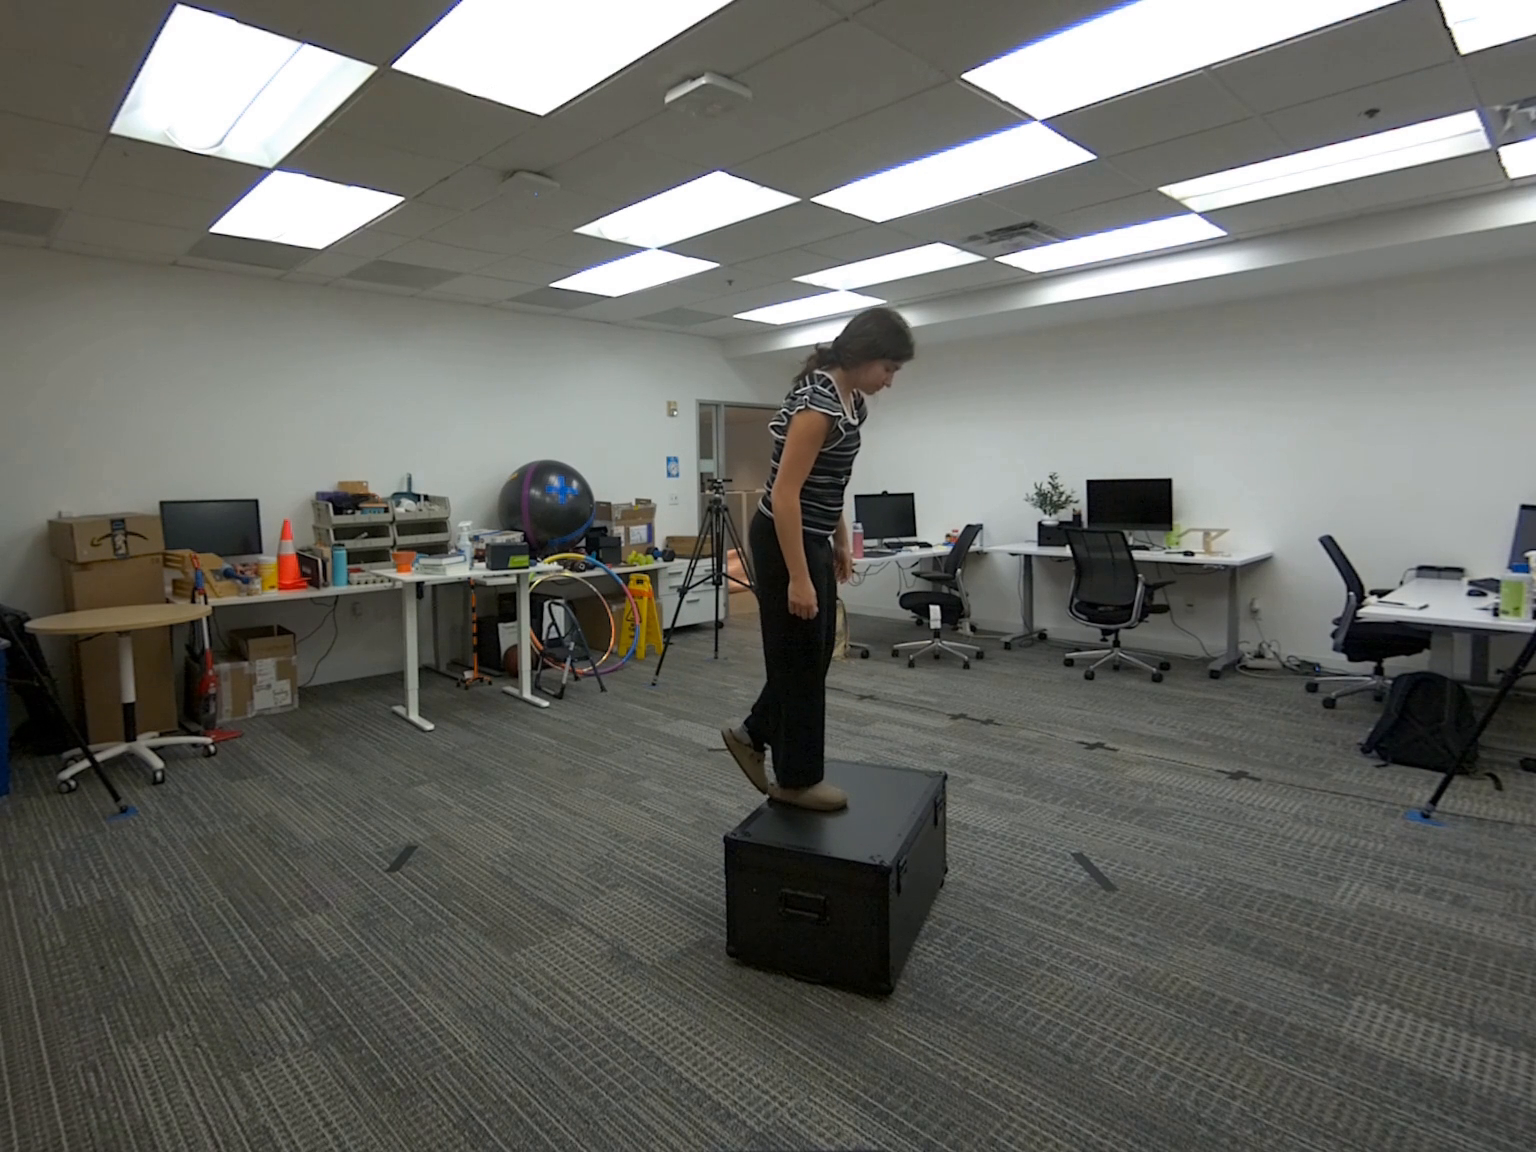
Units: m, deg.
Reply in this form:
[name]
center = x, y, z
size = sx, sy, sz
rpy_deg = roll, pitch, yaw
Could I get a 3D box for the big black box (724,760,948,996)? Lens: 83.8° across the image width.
[big black box]
center = 0.266, 0.892, 2.729
size = 0.533, 0.394, 0.847
rpy_deg = 1, 7, 23
